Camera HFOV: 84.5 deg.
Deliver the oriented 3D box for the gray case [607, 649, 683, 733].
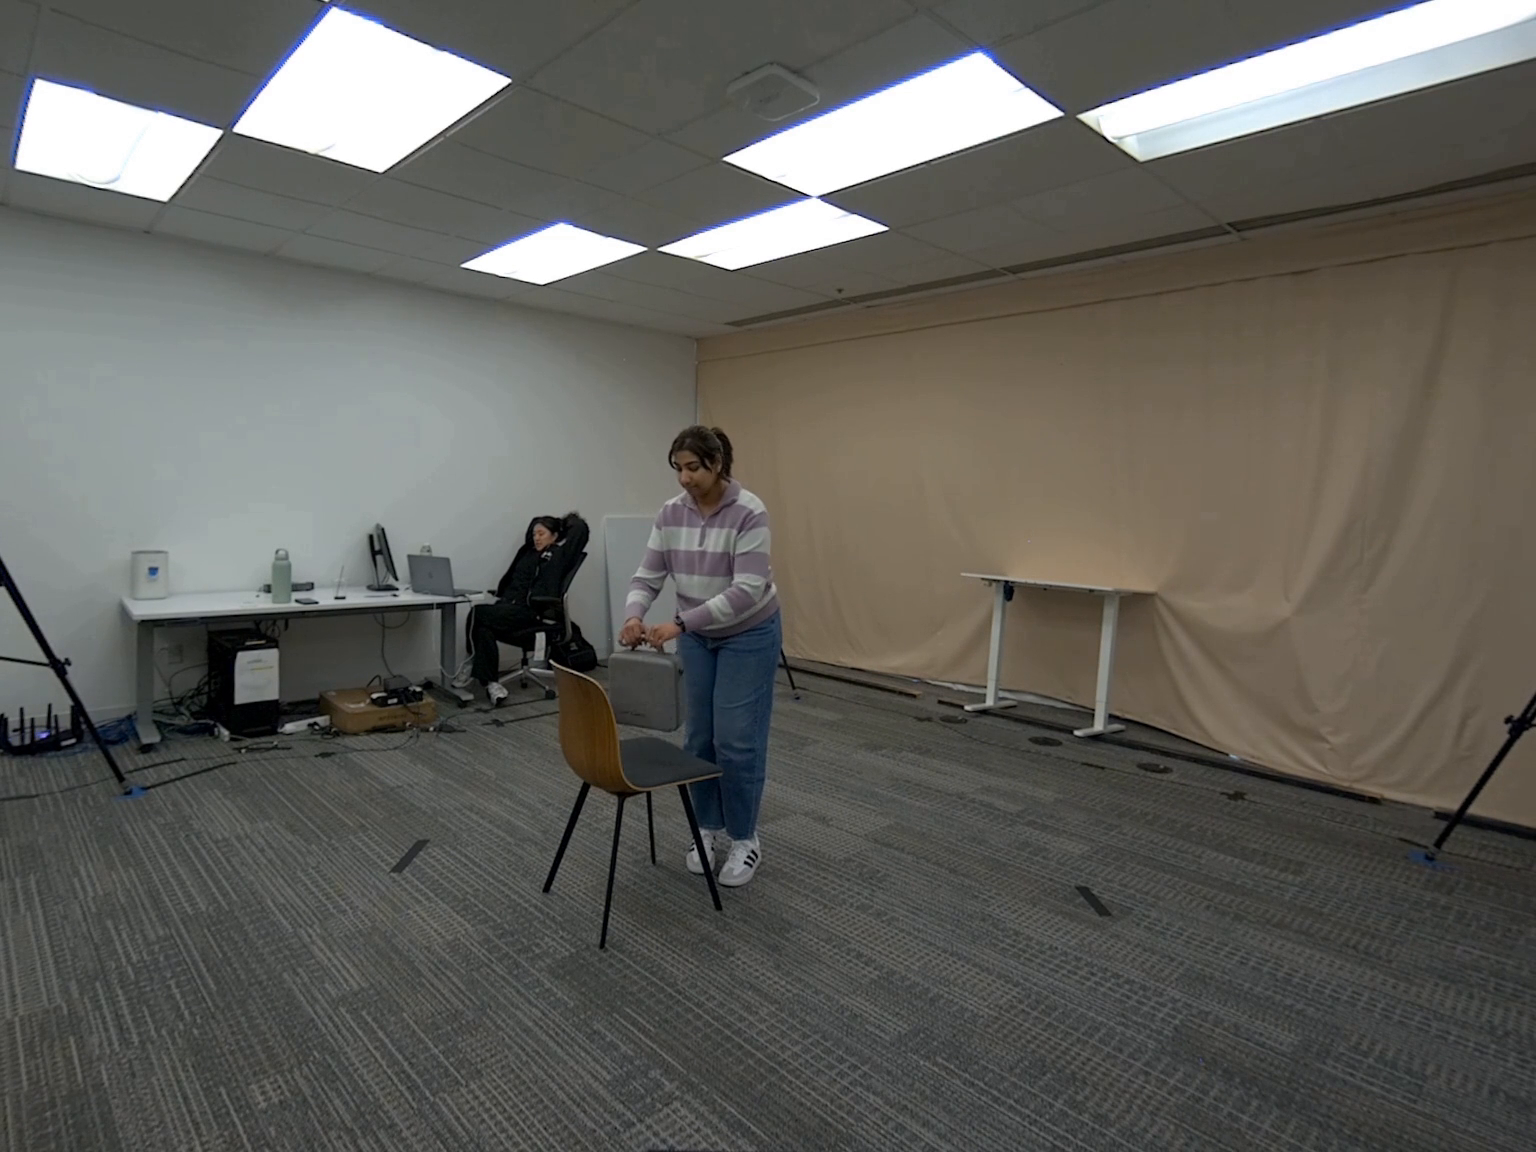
[{"bbox_3d":[-0.413,0.378,2.832,0.262,0.259,0.103,4,10,24],"label":"gray case"}]
